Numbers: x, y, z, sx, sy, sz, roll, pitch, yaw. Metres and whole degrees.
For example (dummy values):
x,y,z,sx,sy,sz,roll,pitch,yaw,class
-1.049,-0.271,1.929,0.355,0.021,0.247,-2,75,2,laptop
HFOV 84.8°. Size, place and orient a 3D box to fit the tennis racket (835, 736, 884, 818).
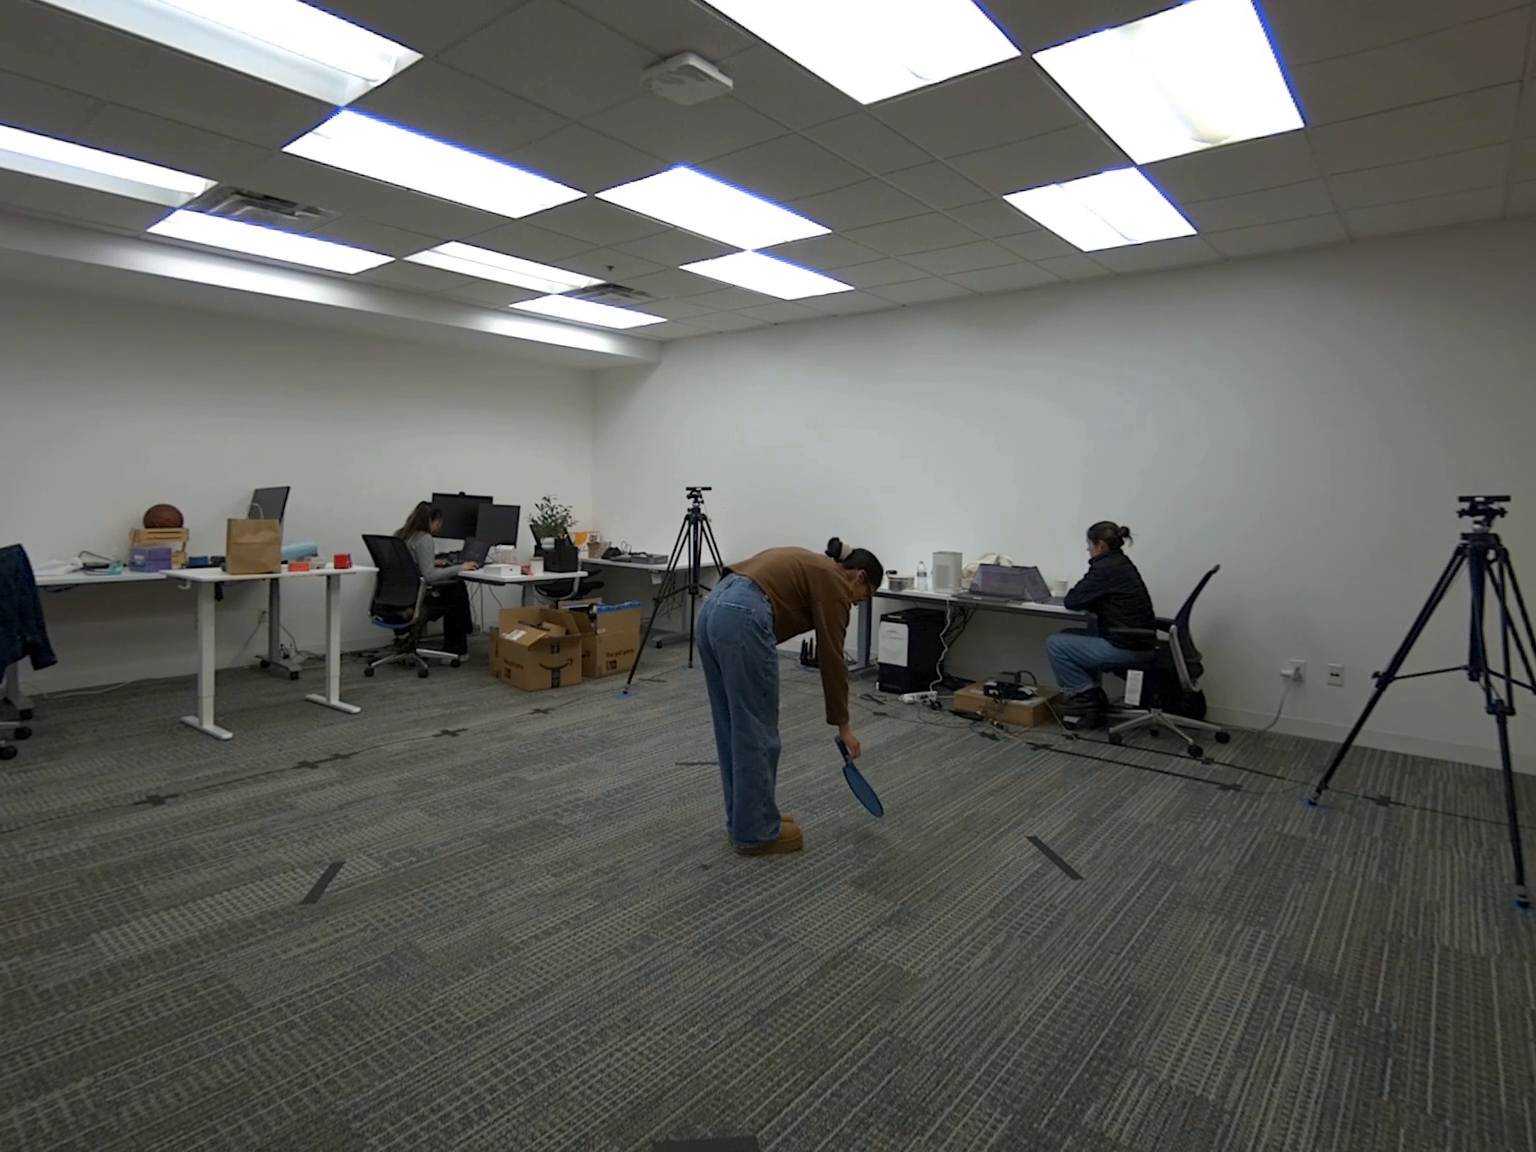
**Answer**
x,y,z,sx,sy,sz,roll,pitch,yaw,class
0.327,0.795,3.375,0.031,0.421,0.221,-35,25,-19,tennis racket
